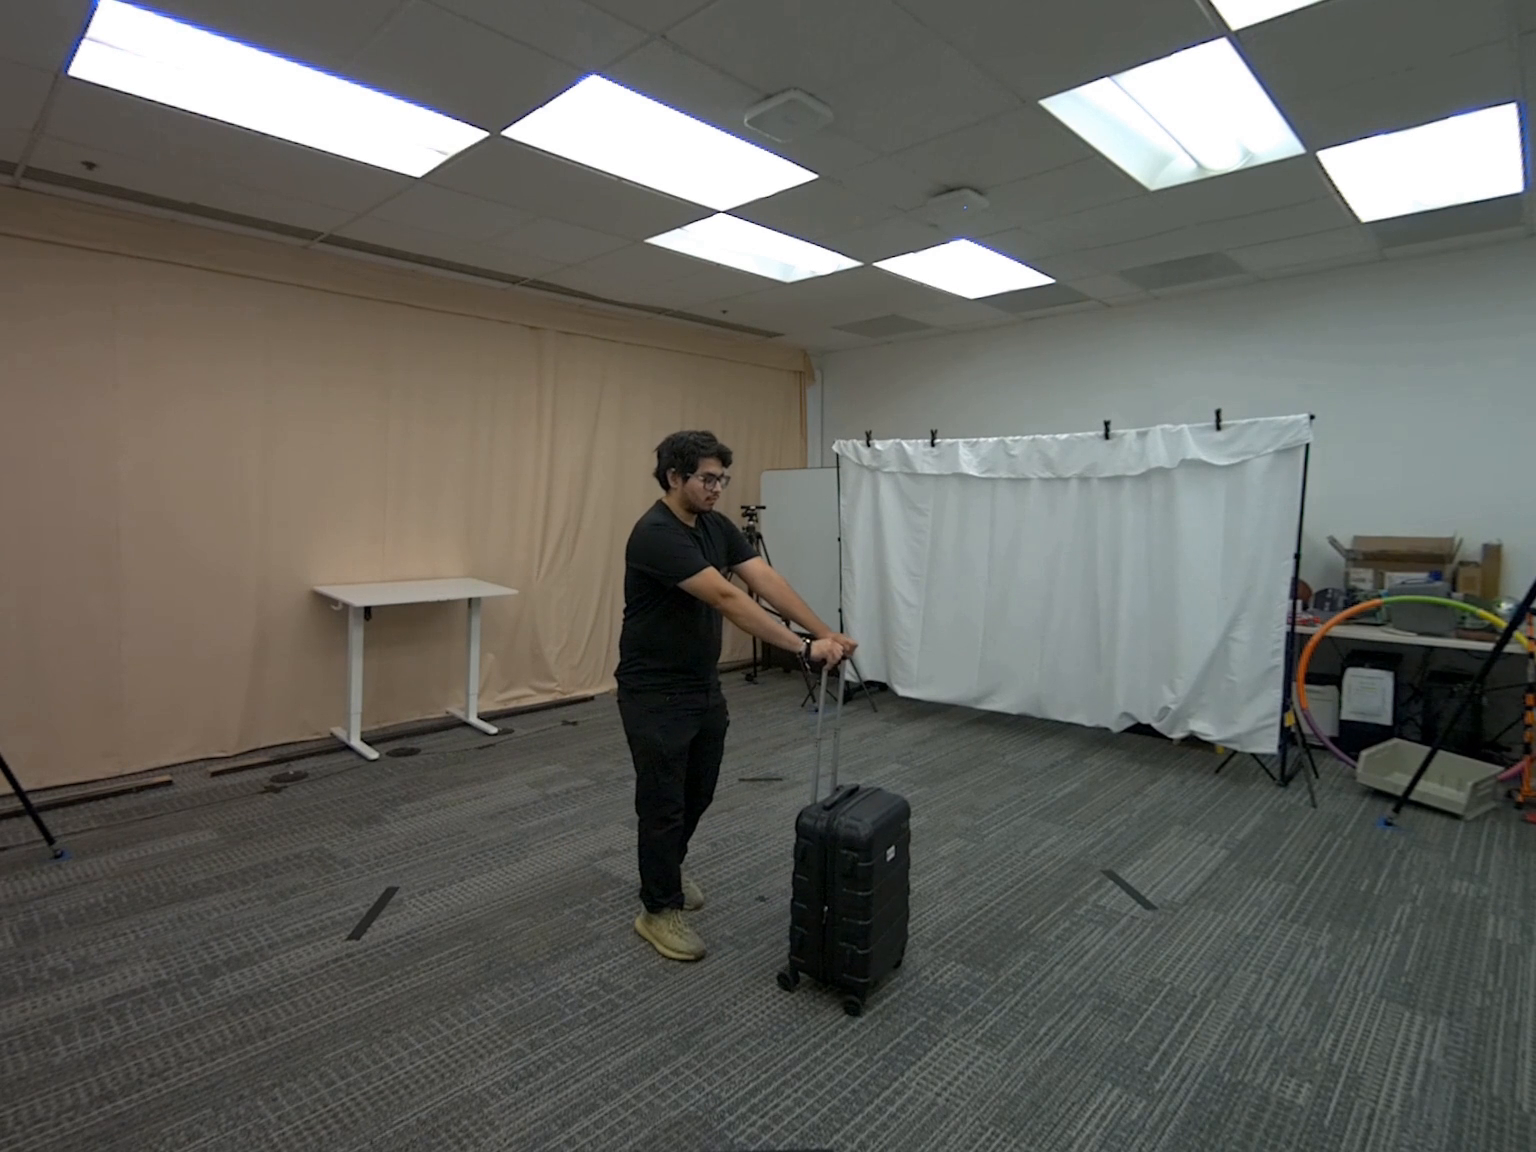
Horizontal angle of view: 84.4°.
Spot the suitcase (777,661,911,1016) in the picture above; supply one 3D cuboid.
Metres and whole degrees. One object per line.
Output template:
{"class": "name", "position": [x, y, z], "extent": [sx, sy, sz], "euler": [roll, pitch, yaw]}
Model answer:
{"class": "suitcase", "position": [0.267, 0.716, 2.447], "extent": [0.265, 0.976, 0.373], "euler": [7, 6, 31]}
